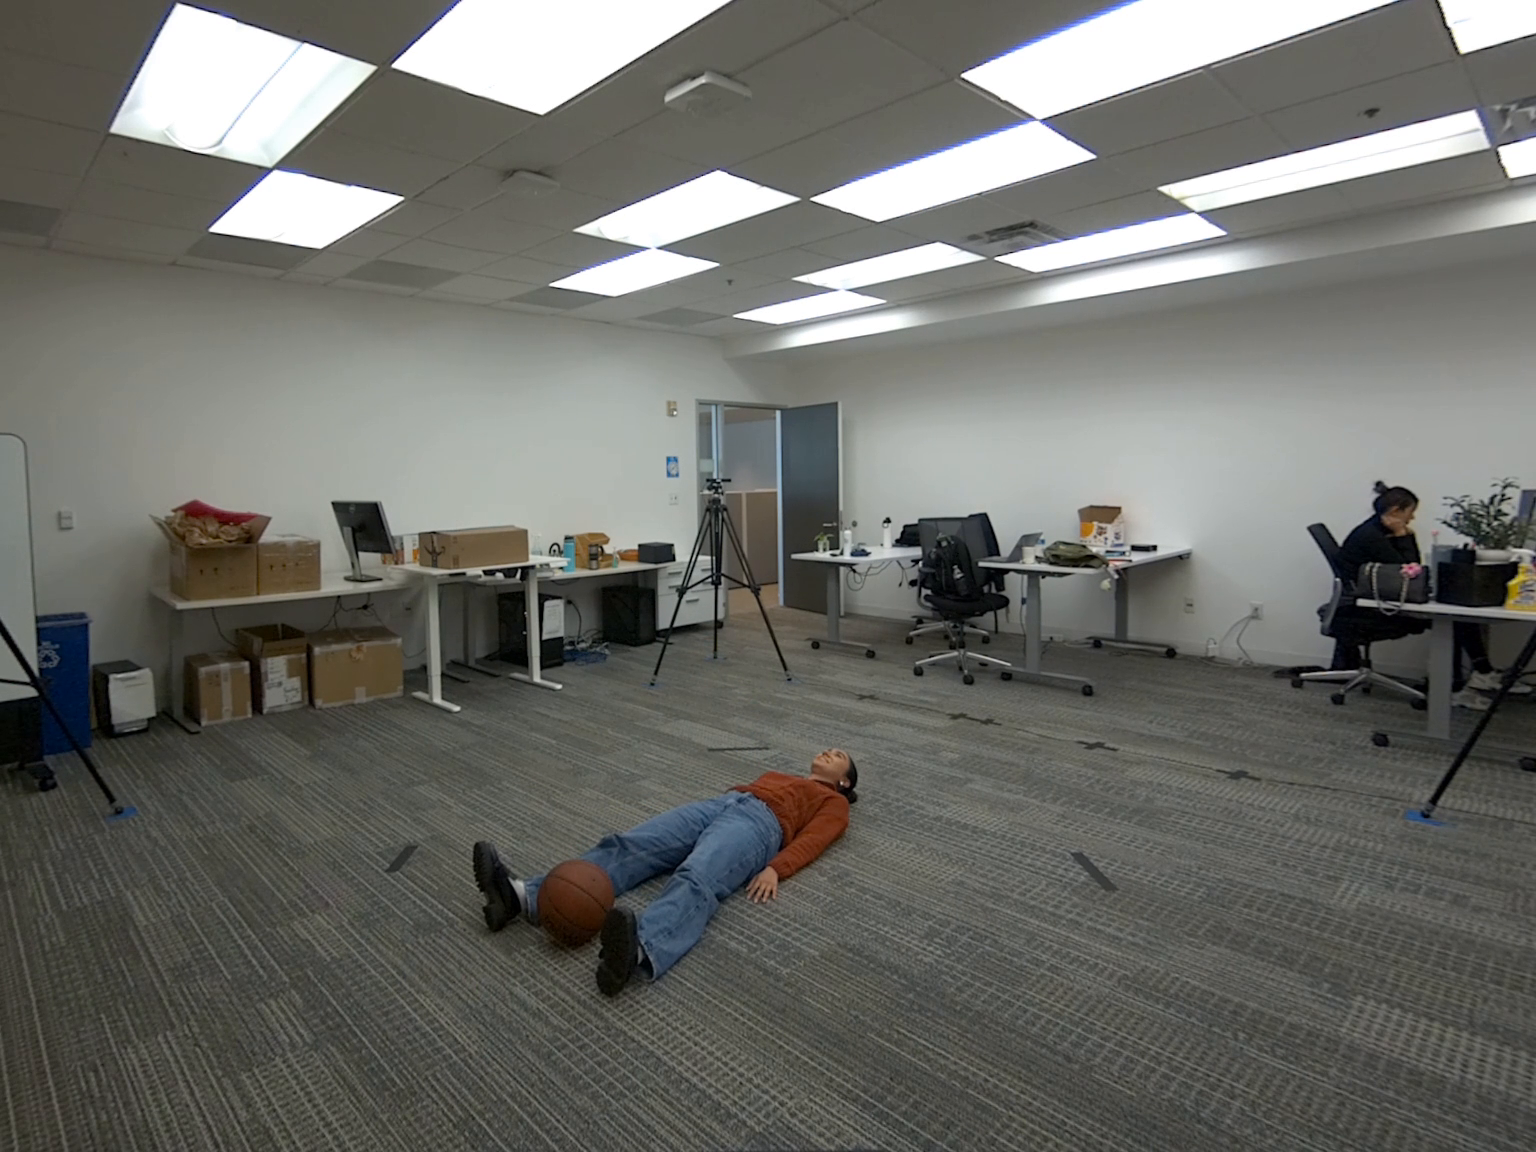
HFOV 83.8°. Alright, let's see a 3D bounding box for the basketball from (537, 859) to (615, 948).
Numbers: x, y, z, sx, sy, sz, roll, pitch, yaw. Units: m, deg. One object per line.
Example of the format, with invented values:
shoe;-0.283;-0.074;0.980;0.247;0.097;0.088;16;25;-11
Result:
basketball;-0.590;0.996;2.619;0.236;0.235;0.237;-1;5;-2
